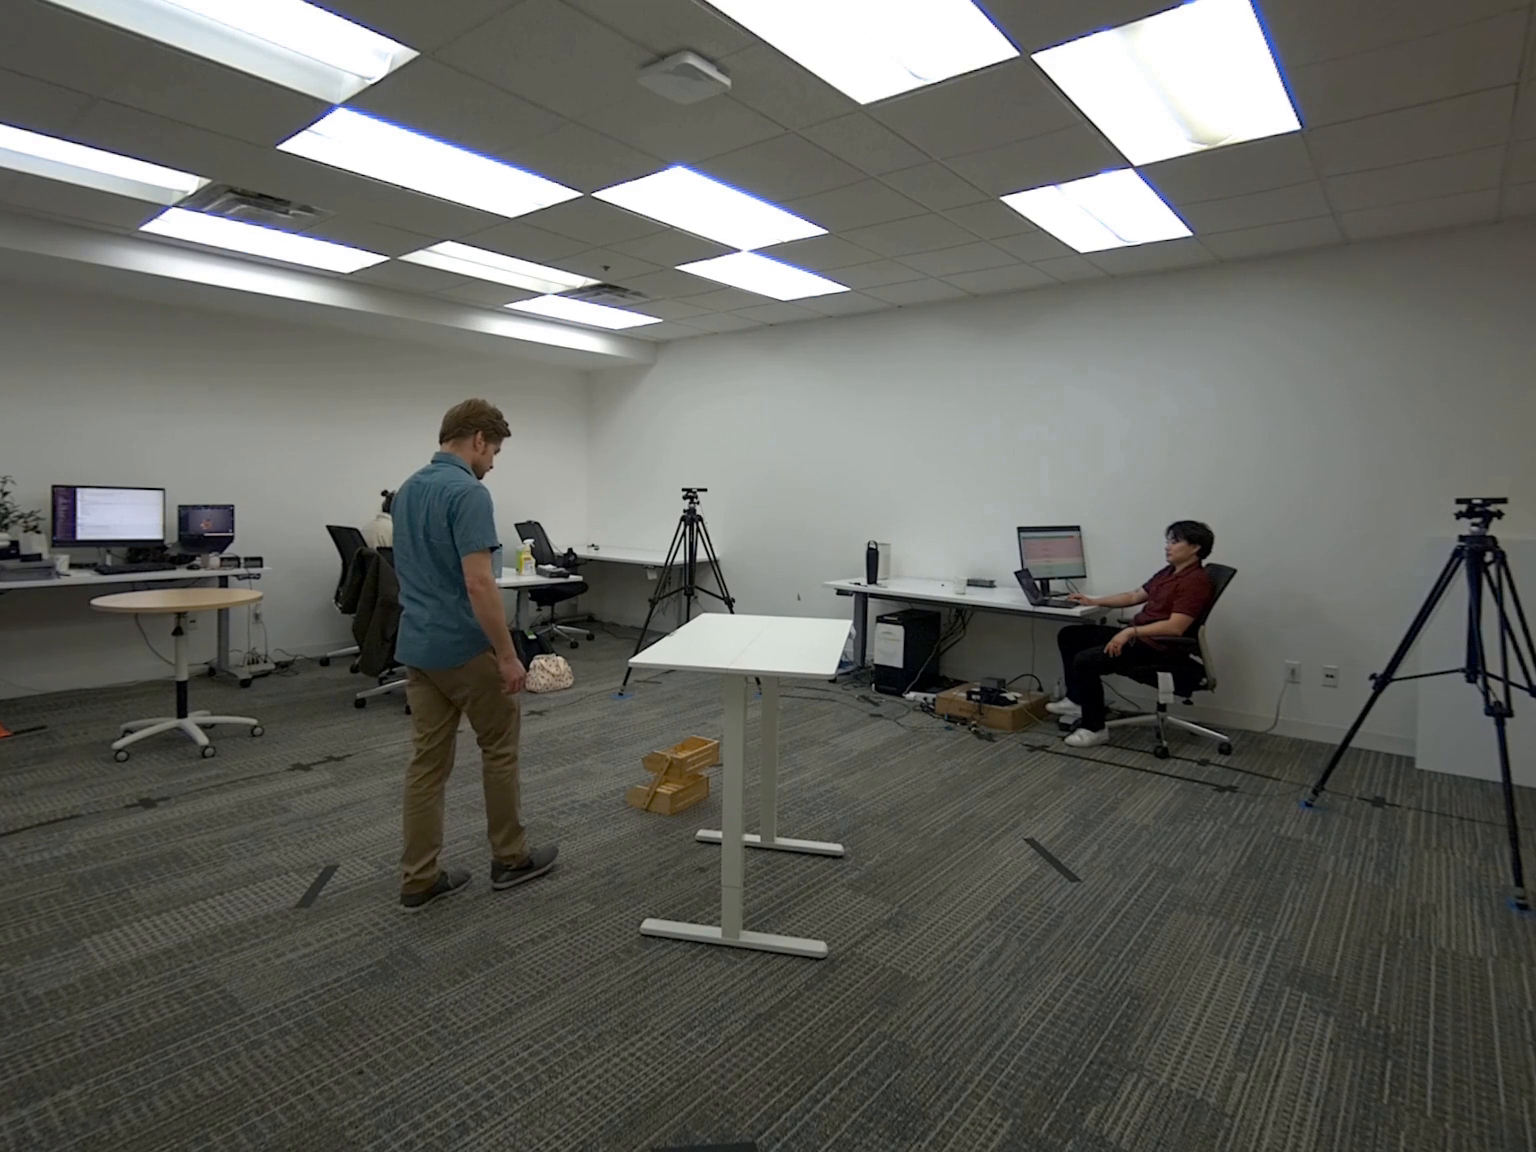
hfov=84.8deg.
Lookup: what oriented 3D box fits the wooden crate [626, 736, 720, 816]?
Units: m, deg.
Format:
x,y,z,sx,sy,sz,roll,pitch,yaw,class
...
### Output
x,y,z,sx,sy,sz,roll,pitch,yaw,class
-0.441,0.868,3.788,0.311,0.272,0.316,4,5,31,wooden crate
